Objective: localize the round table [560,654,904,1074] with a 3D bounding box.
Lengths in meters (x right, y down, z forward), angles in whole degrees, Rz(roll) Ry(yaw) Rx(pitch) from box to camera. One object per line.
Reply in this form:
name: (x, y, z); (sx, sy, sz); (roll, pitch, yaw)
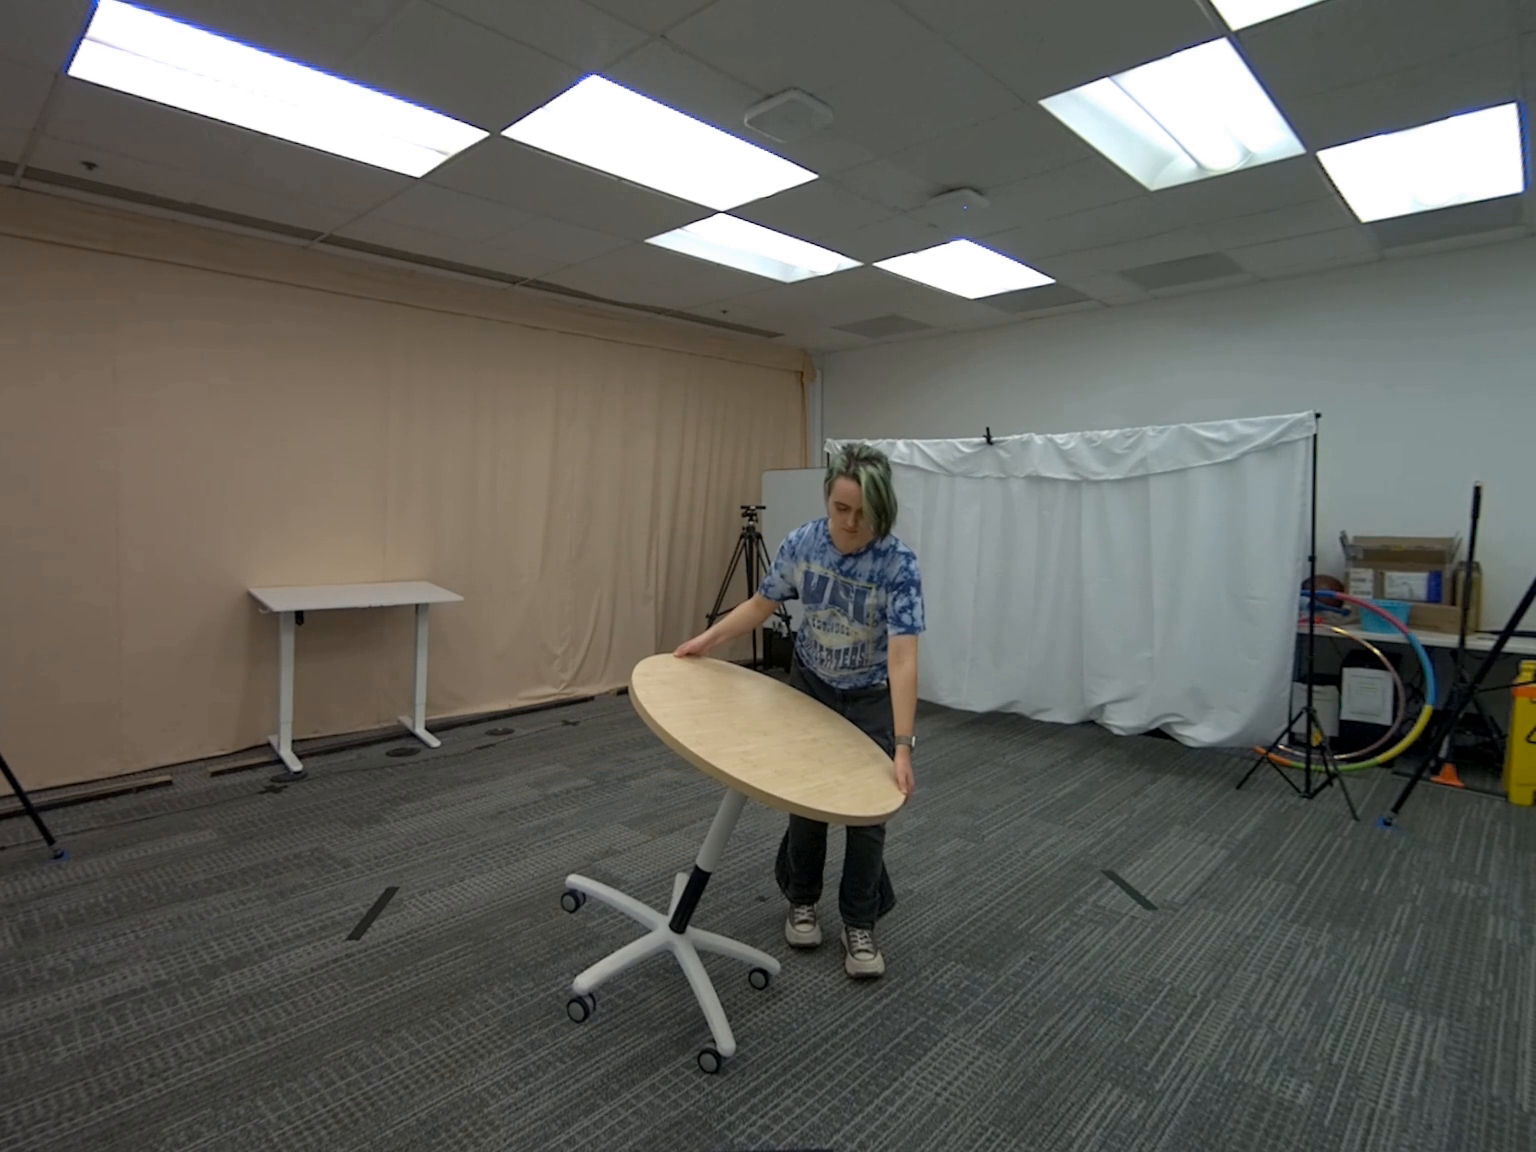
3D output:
round table: (-0.160, 0.751, 2.263); (0.759, 0.792, 0.771); (22, 11, -7)
